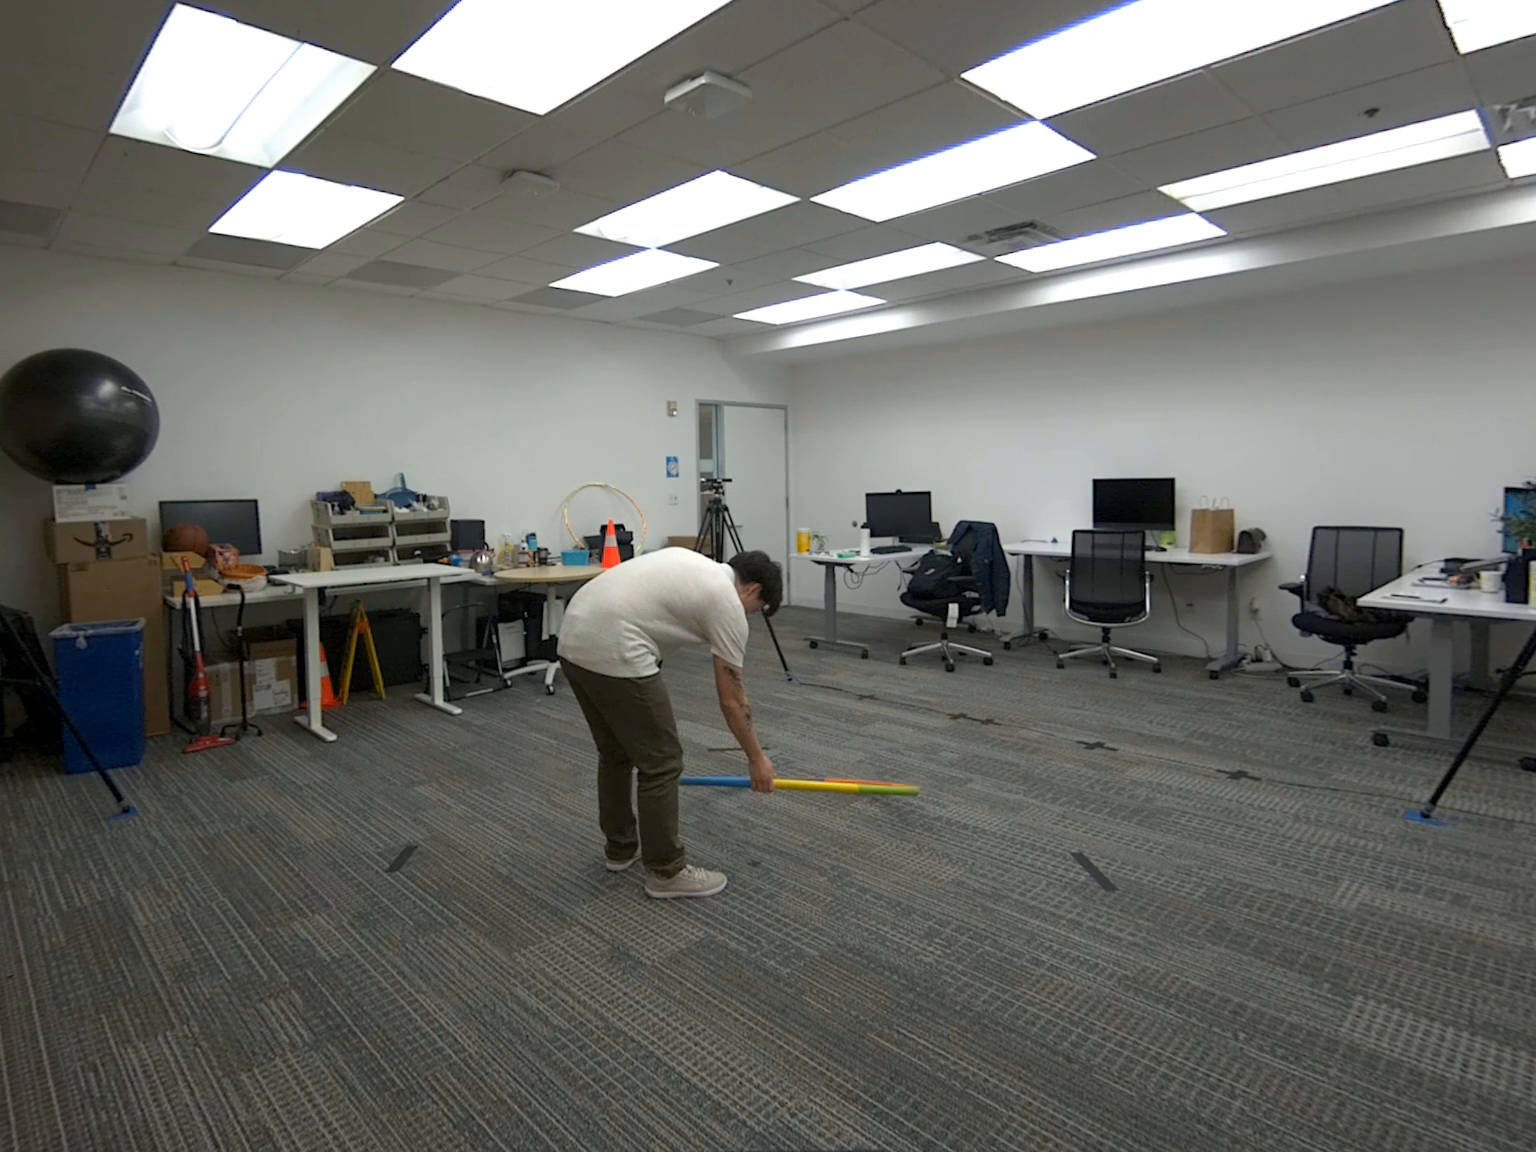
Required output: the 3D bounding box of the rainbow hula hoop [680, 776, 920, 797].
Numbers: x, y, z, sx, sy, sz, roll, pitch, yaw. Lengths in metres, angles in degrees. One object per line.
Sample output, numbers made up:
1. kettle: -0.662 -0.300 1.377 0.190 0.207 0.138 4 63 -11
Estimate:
1. rainbow hula hoop: 0.101 0.837 3.456 0.979 0.036 0.967 3 -12 -1
